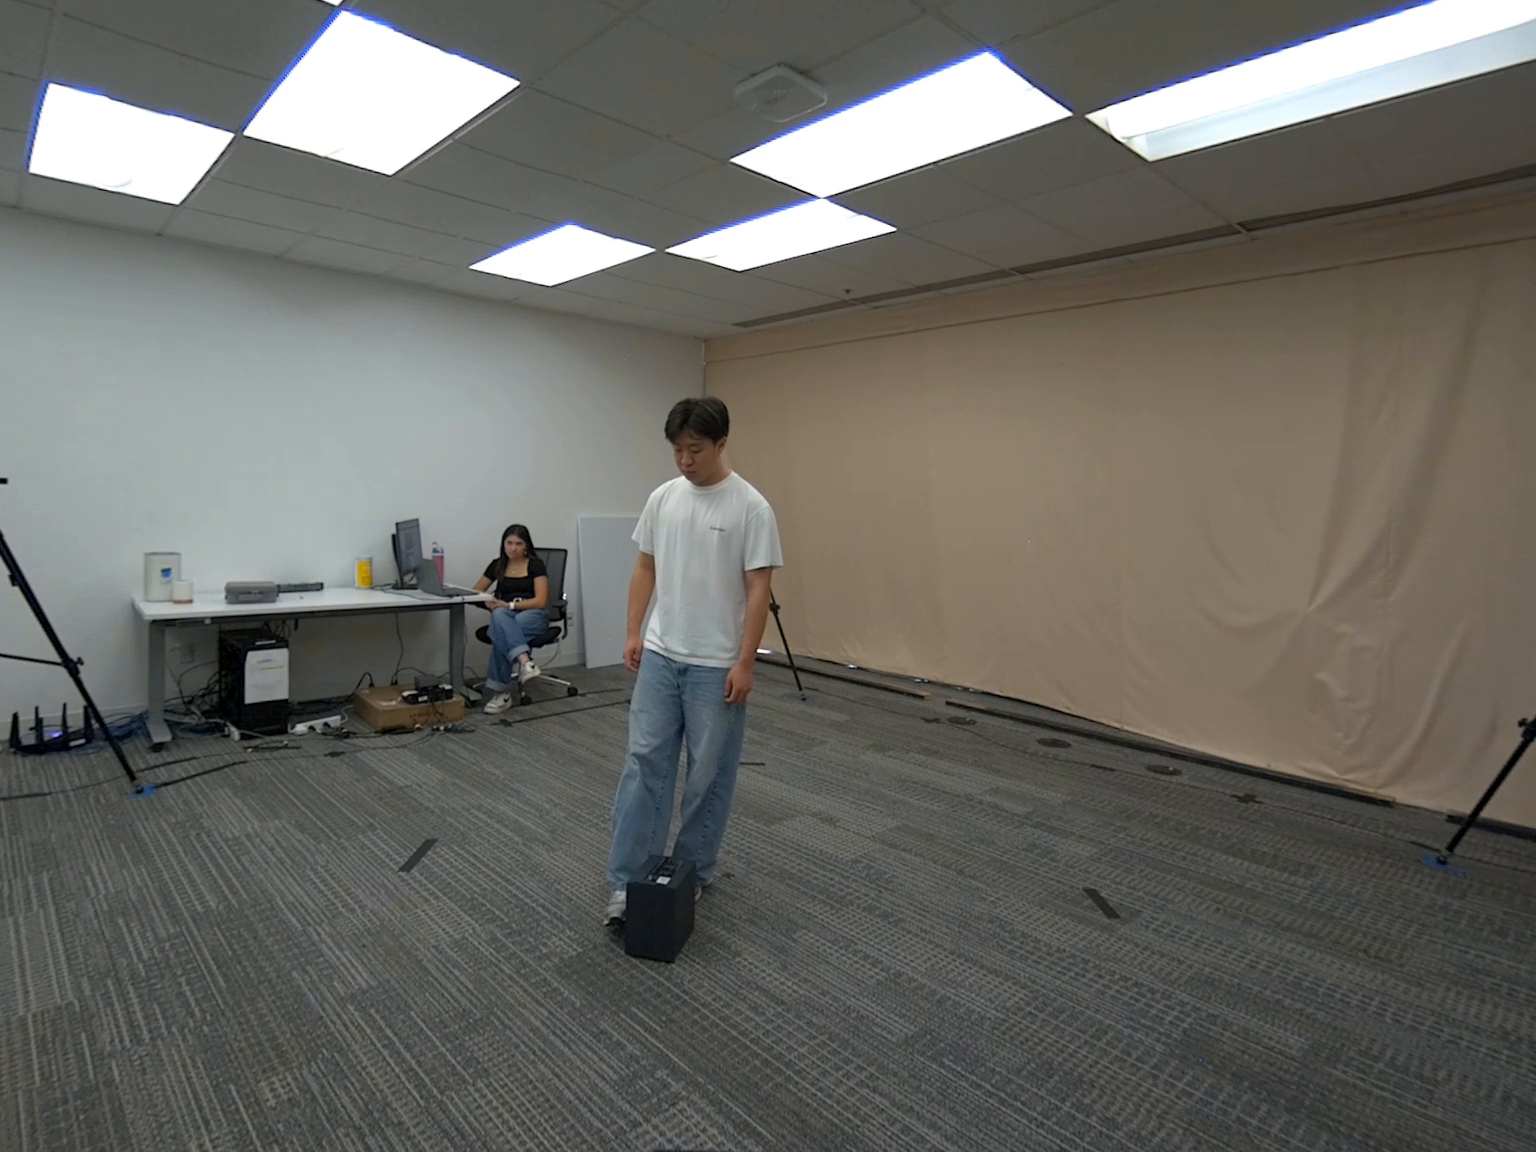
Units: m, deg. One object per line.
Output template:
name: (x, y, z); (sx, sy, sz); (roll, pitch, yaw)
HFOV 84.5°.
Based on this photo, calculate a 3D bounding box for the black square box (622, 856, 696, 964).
black square box: (-0.352, 1.029, 2.620); (0.158, 0.227, 0.215); (3, 5, 12)
